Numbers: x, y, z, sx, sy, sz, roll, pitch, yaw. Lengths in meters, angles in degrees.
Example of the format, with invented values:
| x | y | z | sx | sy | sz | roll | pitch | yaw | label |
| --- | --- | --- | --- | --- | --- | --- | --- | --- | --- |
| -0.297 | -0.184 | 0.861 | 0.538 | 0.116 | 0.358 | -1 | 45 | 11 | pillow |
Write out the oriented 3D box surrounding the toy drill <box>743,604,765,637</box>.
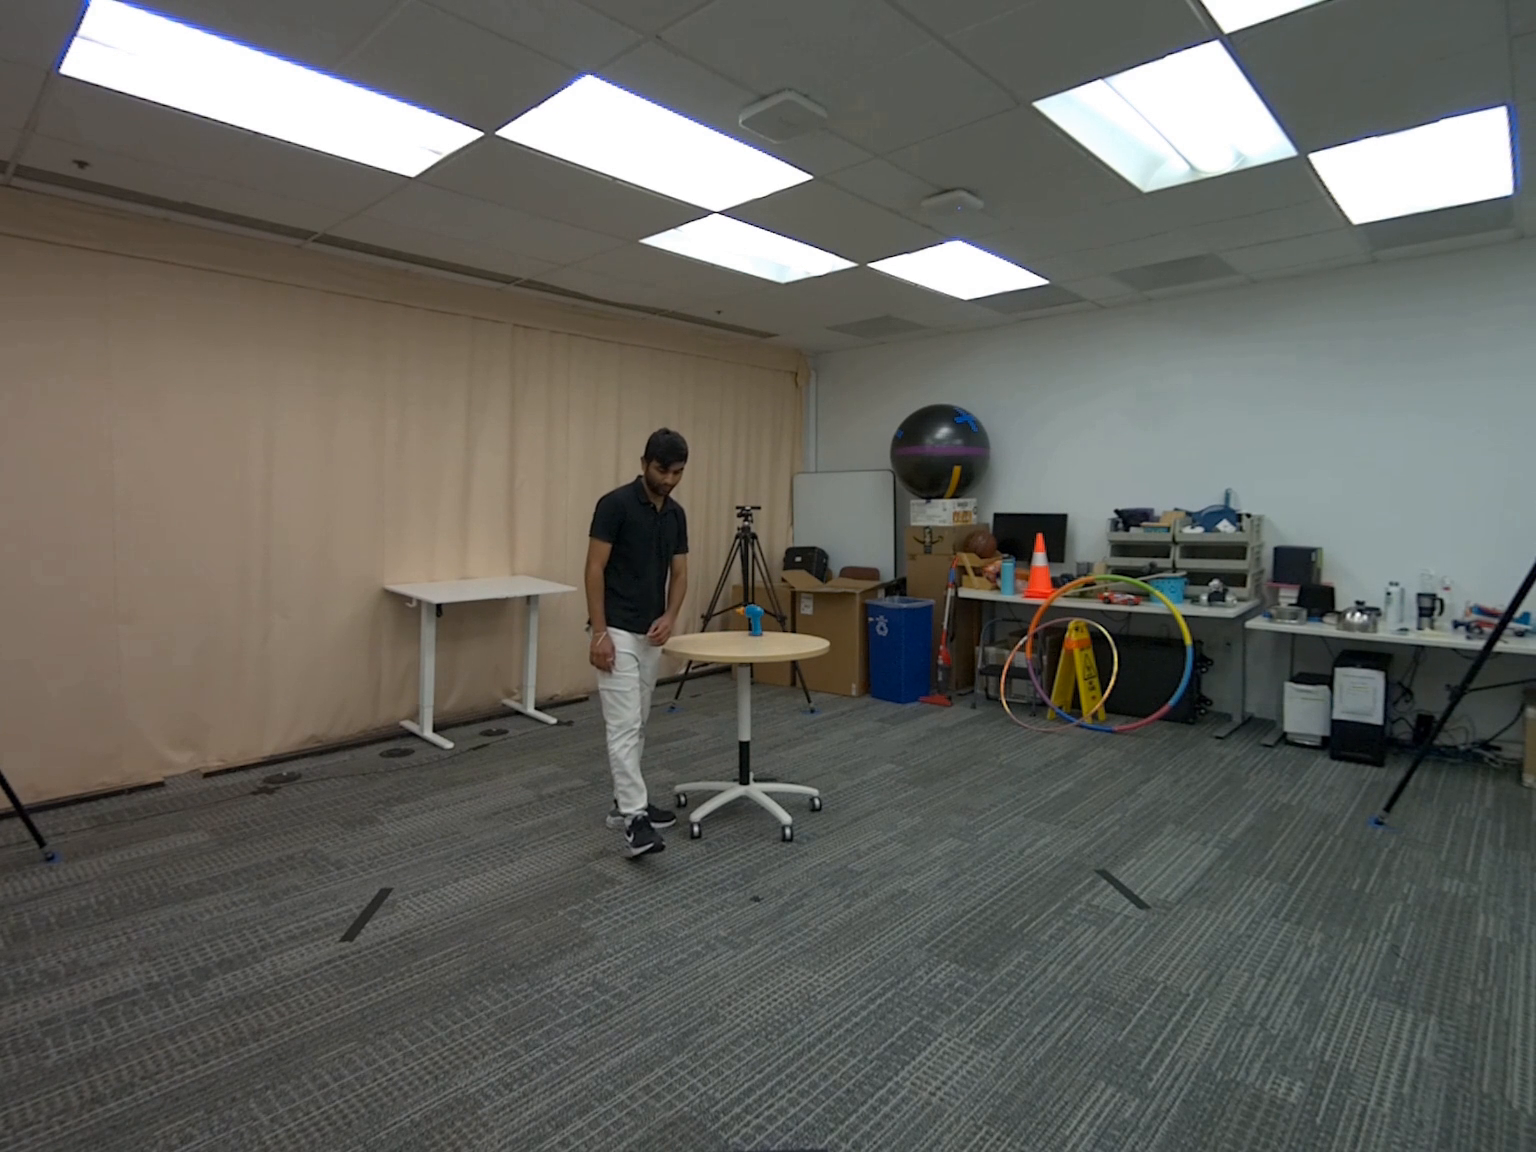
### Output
| x | y | z | sx | sy | sz | roll | pitch | yaw | label |
| --- | --- | --- | --- | --- | --- | --- | --- | --- | --- |
| -0.096 | 0.212 | 4.029 | 0.174 | 0.145 | 0.060 | 0 | 7 | 30 | toy drill |
